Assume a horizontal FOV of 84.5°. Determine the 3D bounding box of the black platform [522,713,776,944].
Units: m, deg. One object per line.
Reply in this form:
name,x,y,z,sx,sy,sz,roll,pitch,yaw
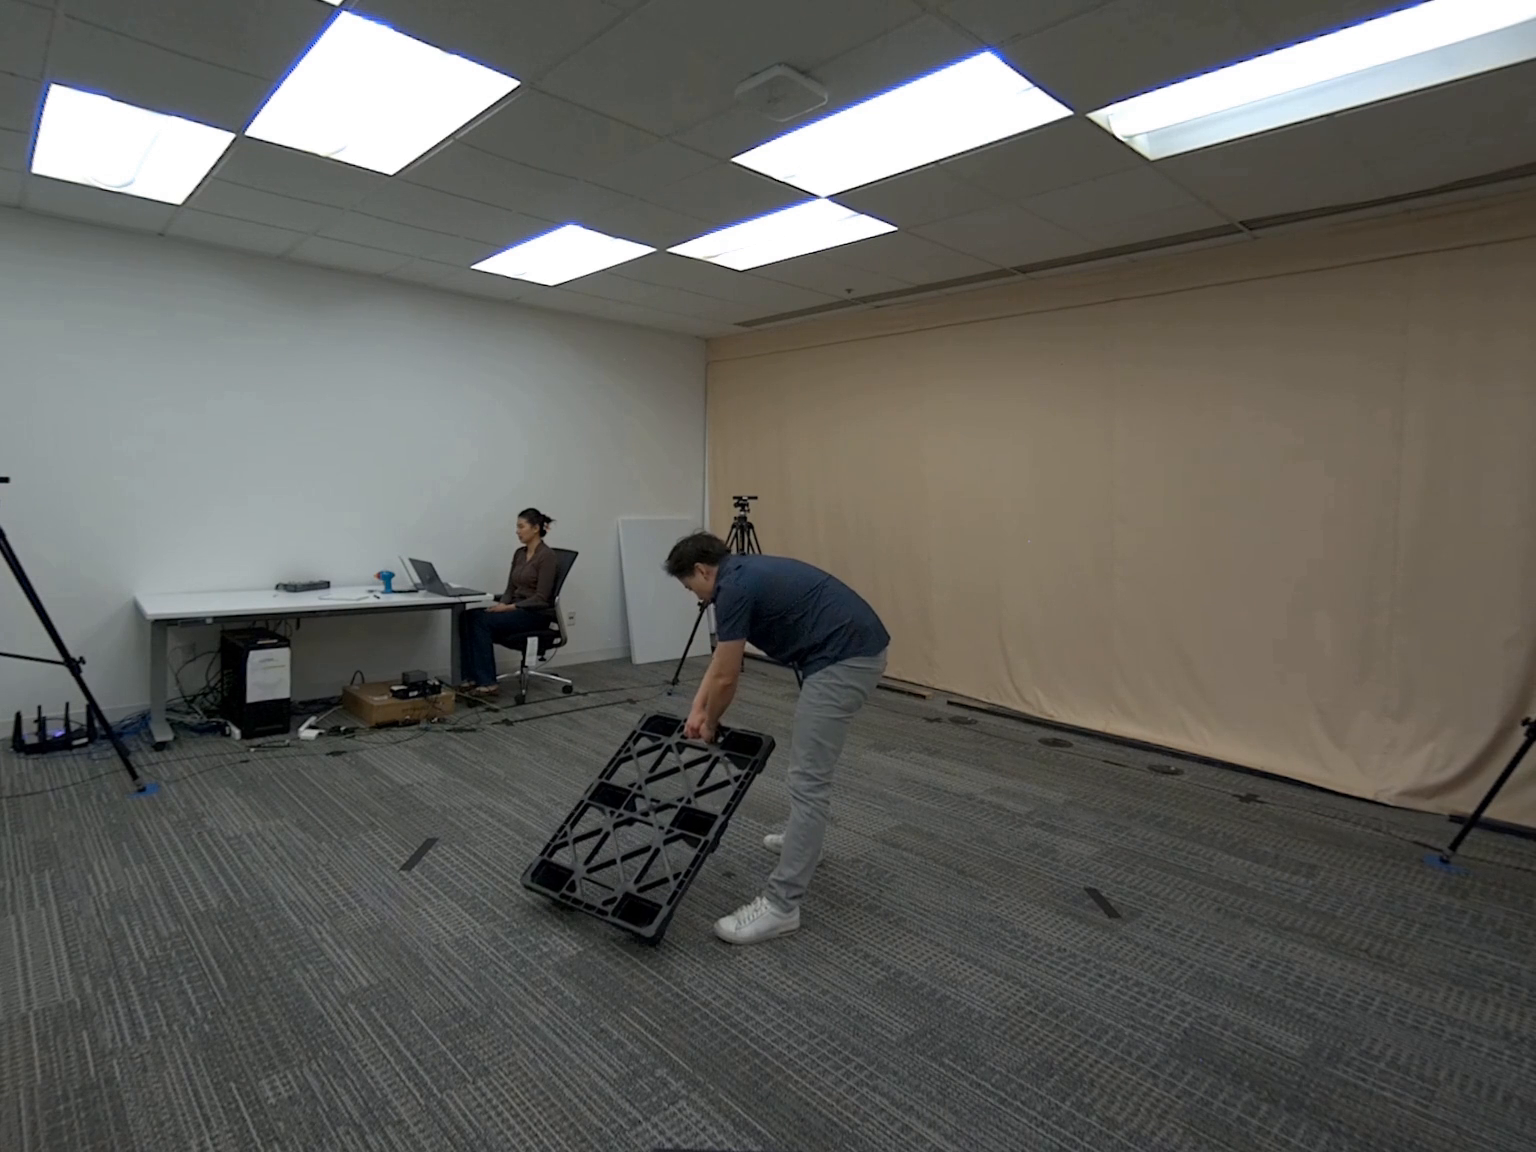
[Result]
black platform,-0.390,0.846,2.934,0.619,0.139,0.808,4,41,33
